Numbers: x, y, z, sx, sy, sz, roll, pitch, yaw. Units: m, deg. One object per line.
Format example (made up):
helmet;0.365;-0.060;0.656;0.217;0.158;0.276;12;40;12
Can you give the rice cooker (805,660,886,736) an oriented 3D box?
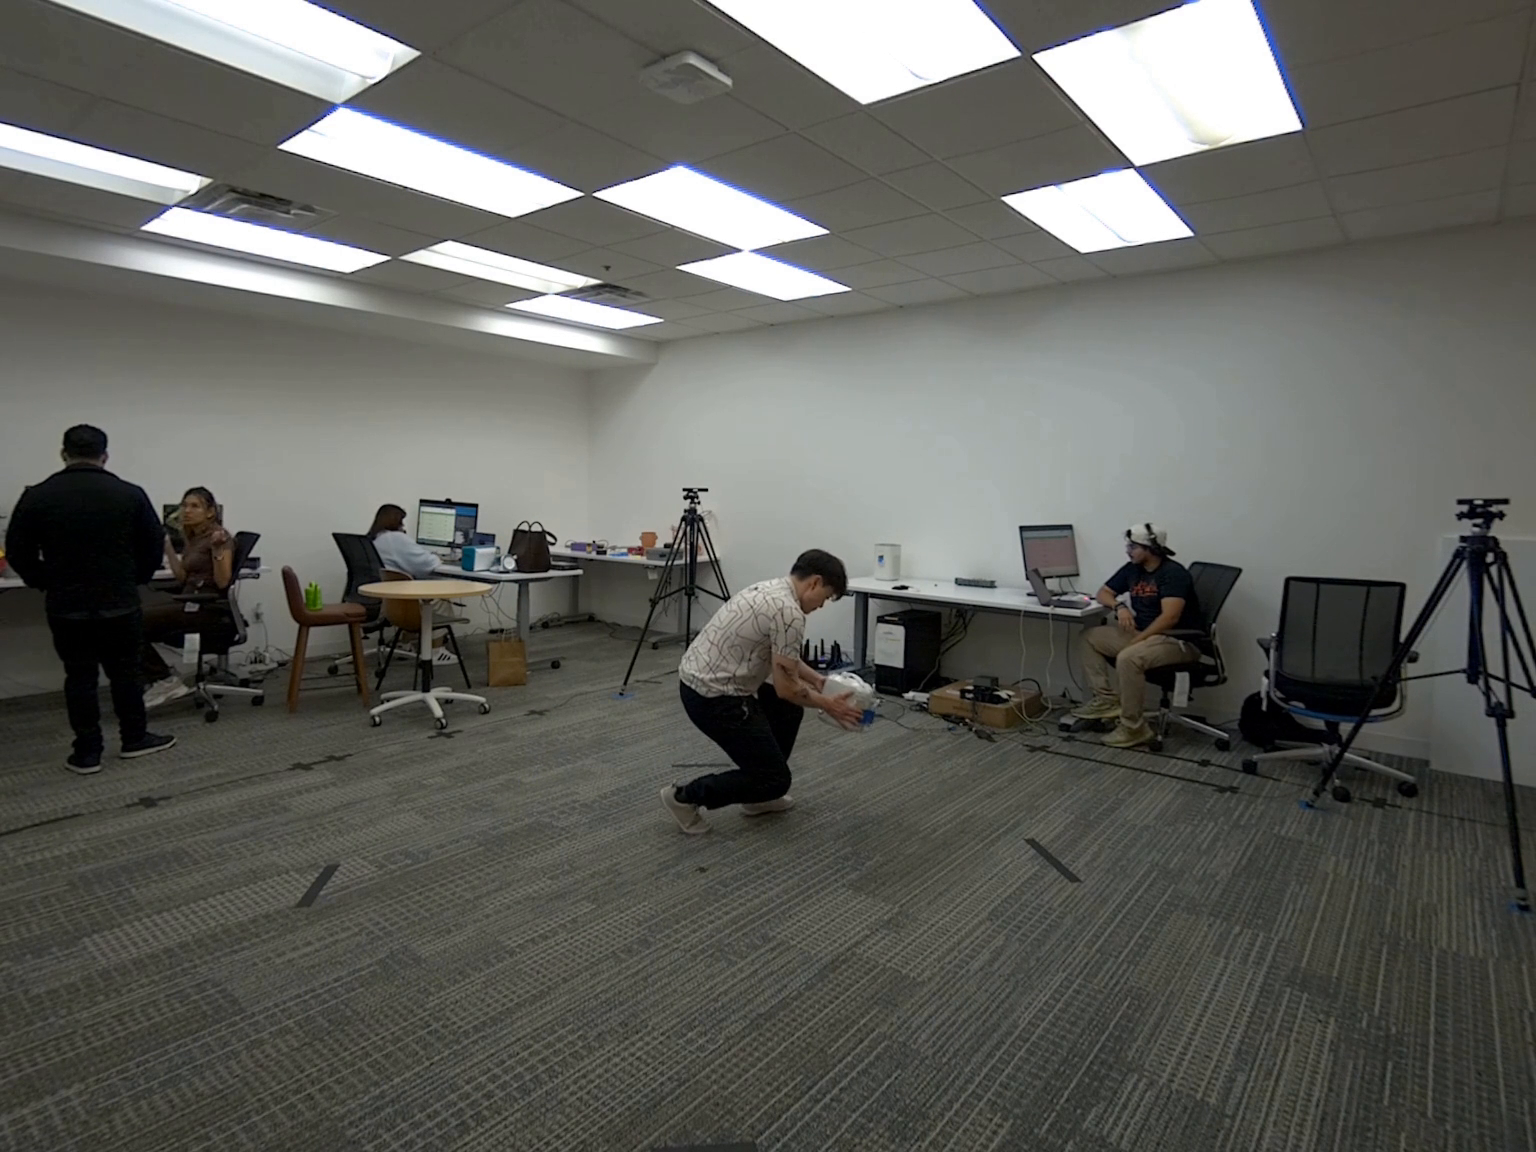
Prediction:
rice cooker;0.322;0.520;3.625;0.211;0.233;0.227;18;-3;-27
